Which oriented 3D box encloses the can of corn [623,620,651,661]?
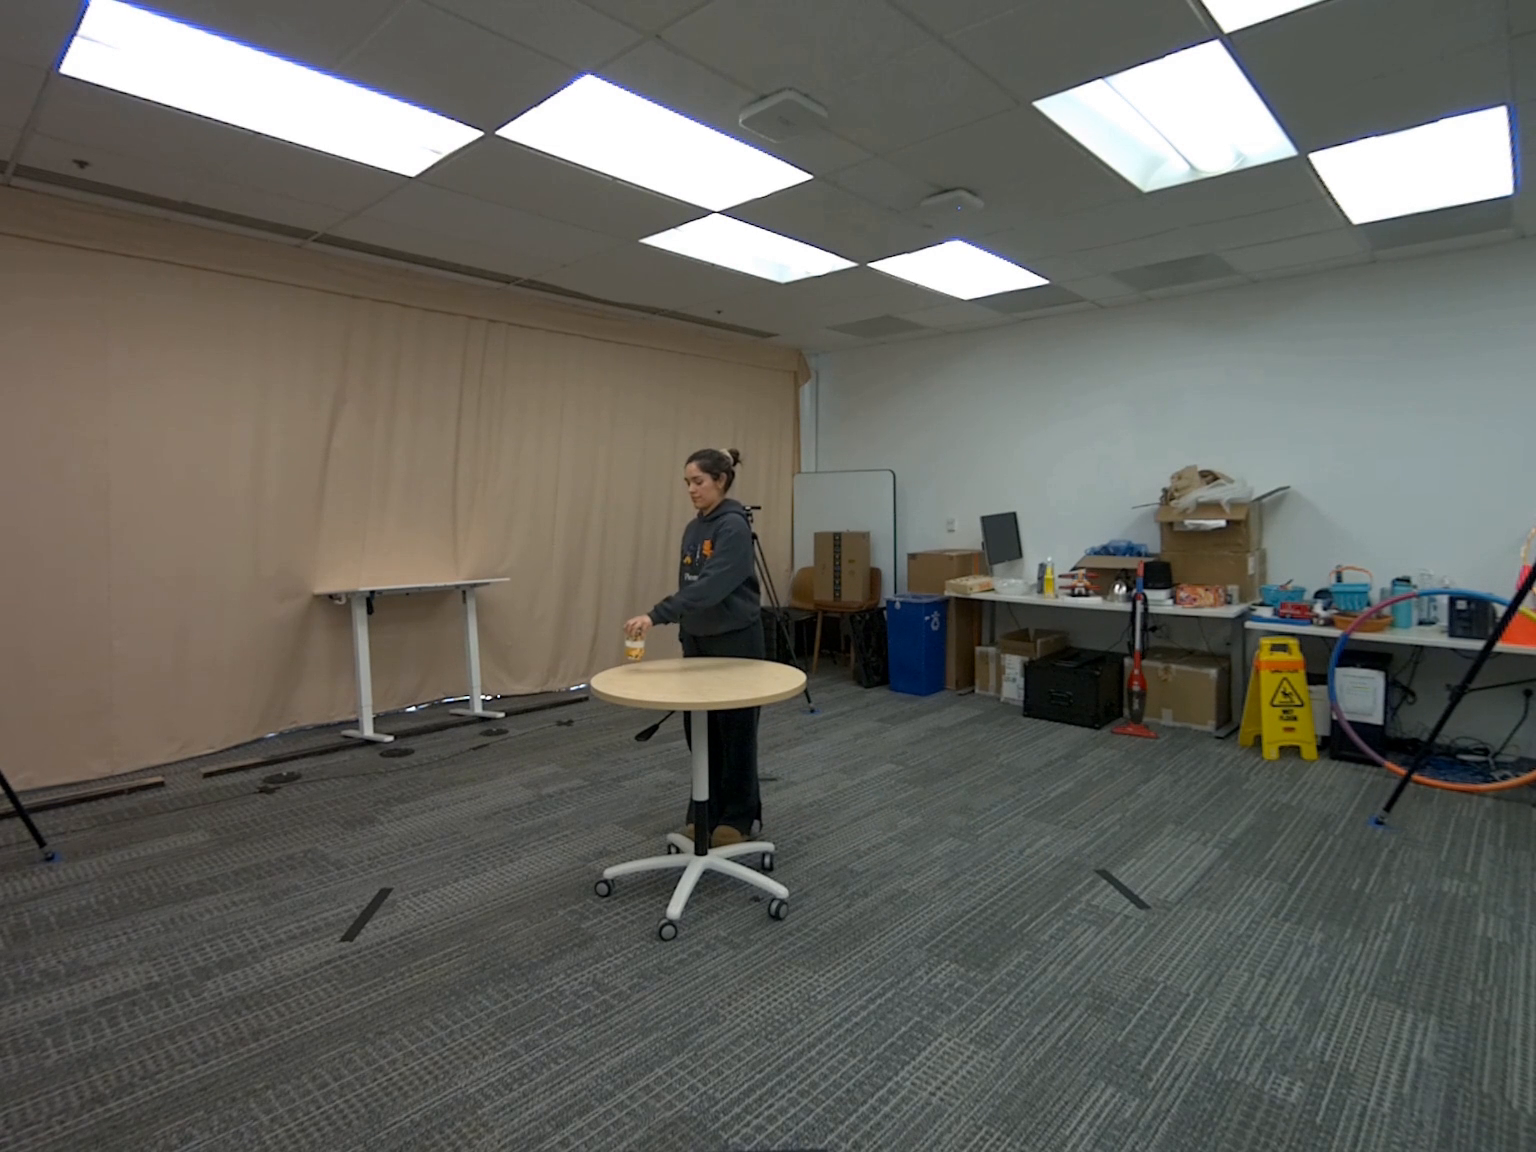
[{"bbox_3d":[-0.474,0.258,3.132,0.074,0.111,0.074,2,6,-2],"label":"can of corn"}]
